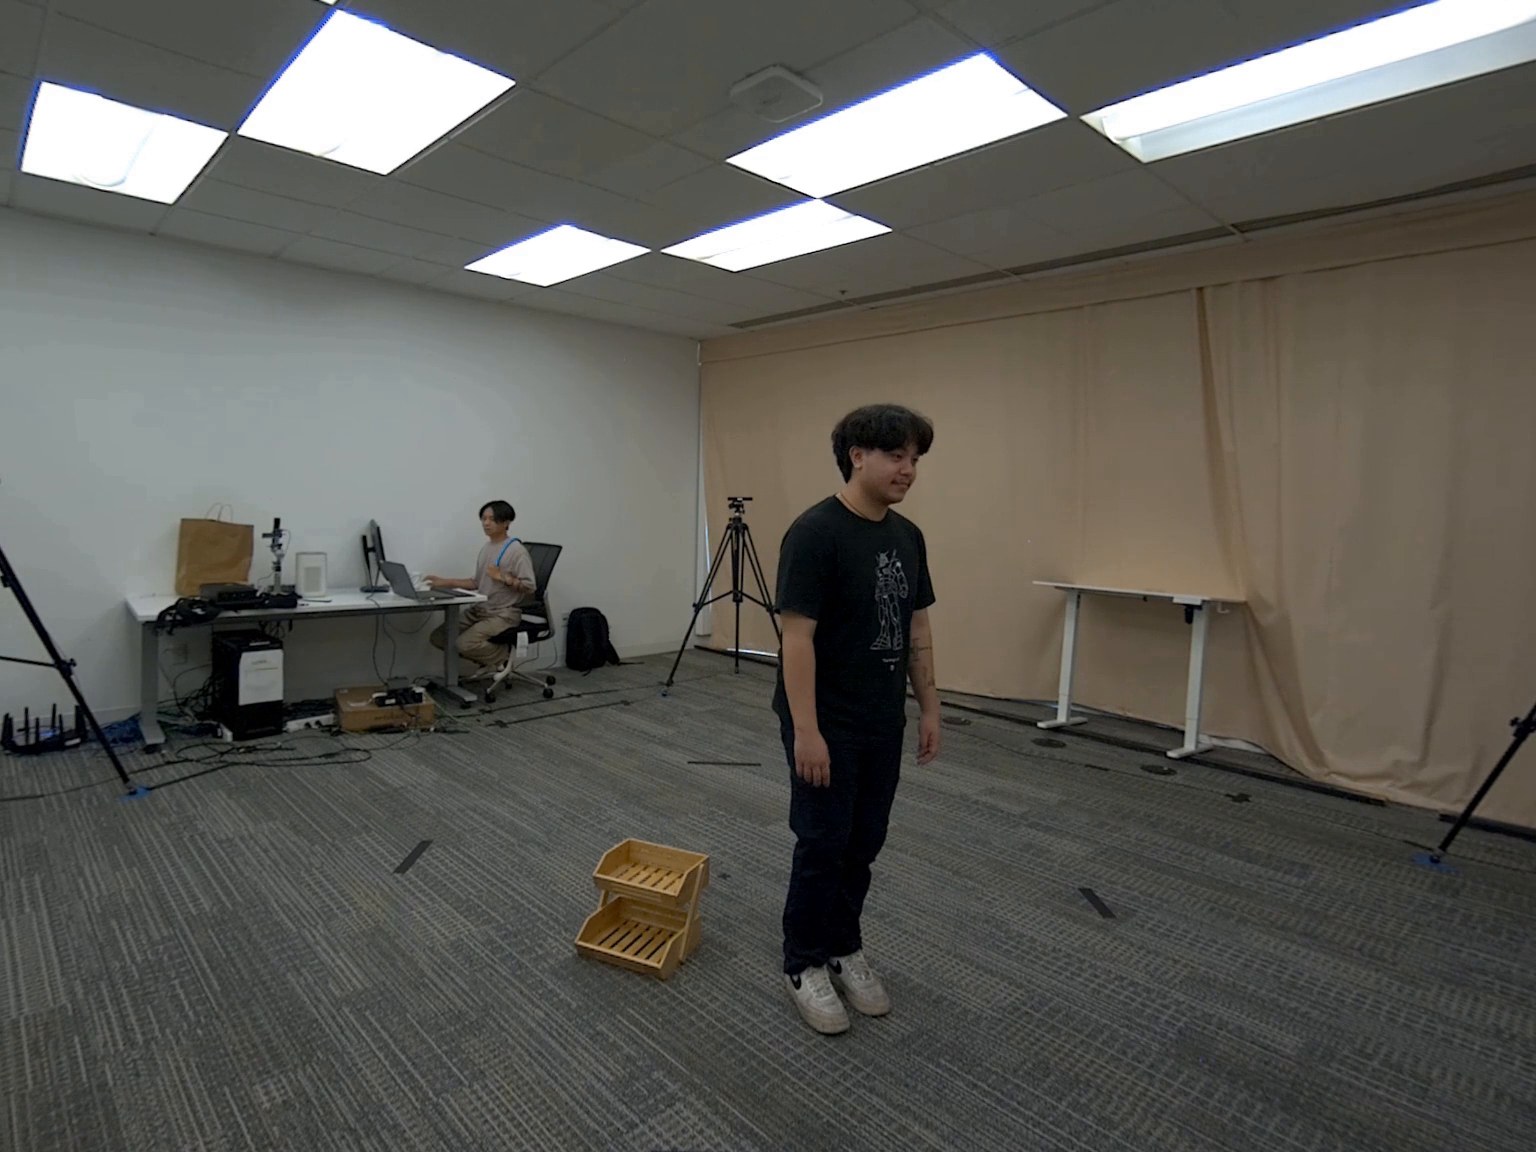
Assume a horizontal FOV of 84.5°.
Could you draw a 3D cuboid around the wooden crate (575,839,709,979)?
[{"bbox_3d":[-0.393,1.018,2.591,0.330,0.273,0.297,3,4,24],"label":"wooden crate"}]
